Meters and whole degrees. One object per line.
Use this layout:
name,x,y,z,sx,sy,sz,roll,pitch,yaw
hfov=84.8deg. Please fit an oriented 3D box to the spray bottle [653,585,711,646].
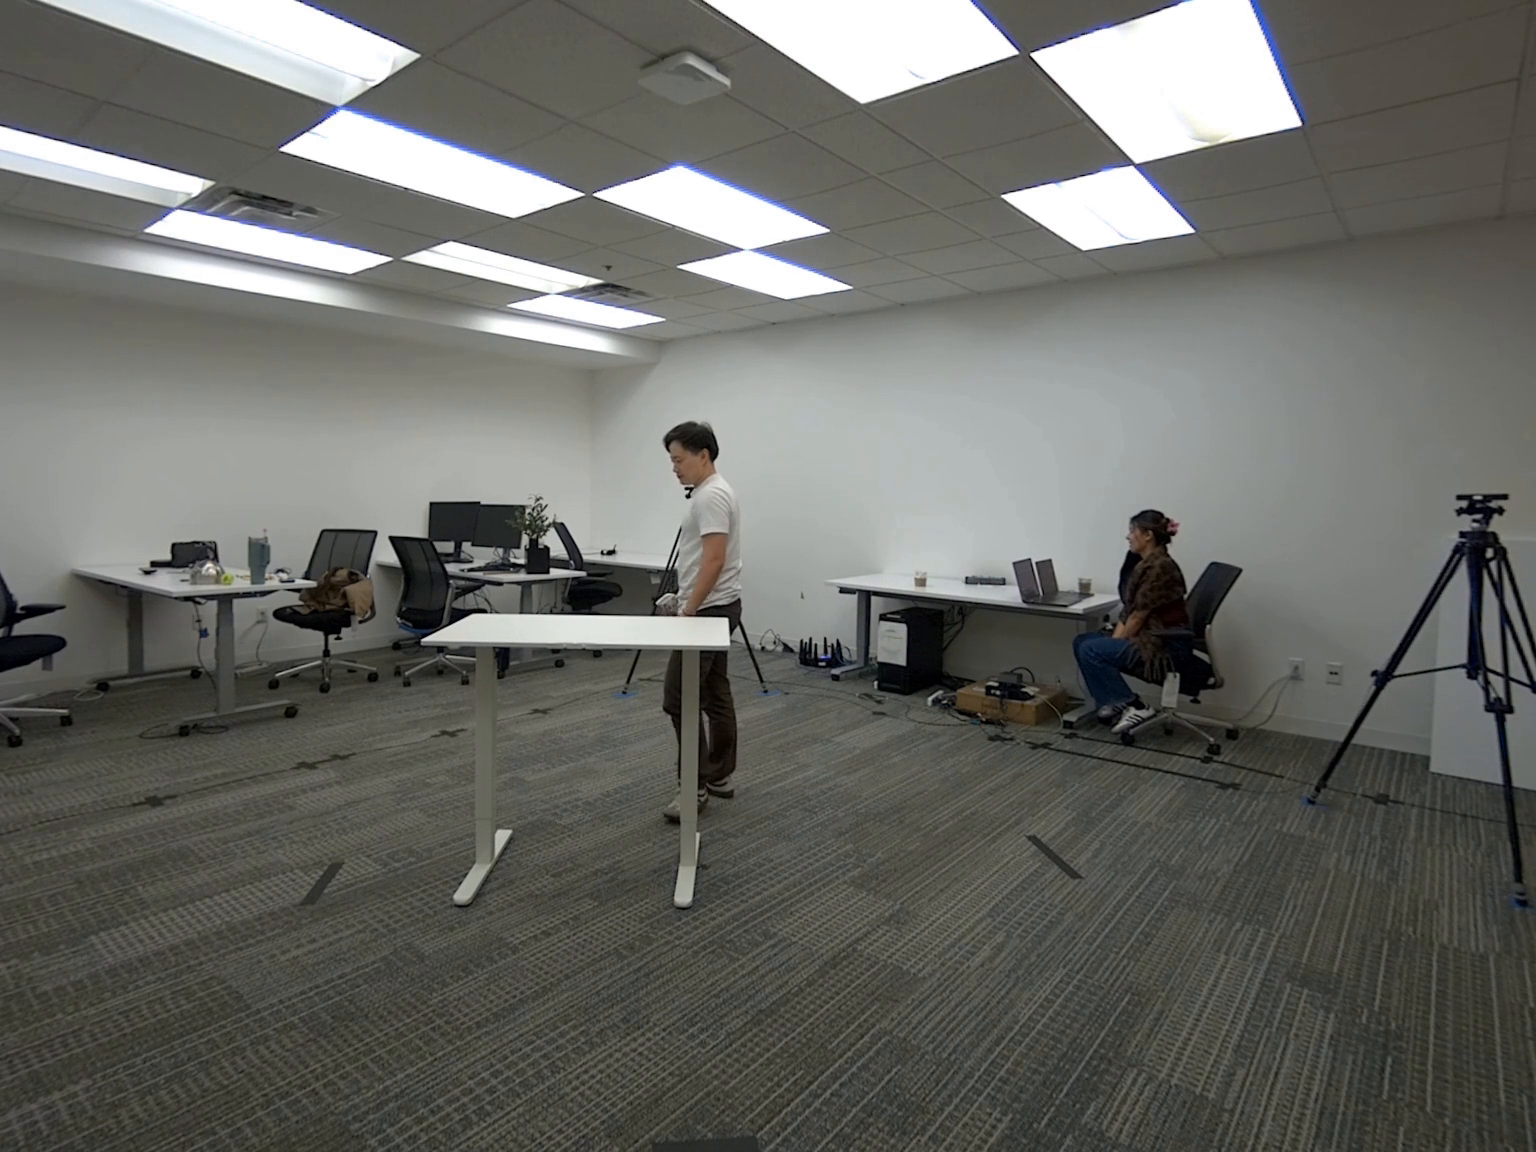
spray bottle,-0.415,0.187,4.043,0.091,0.289,0.088,-31,24,28
